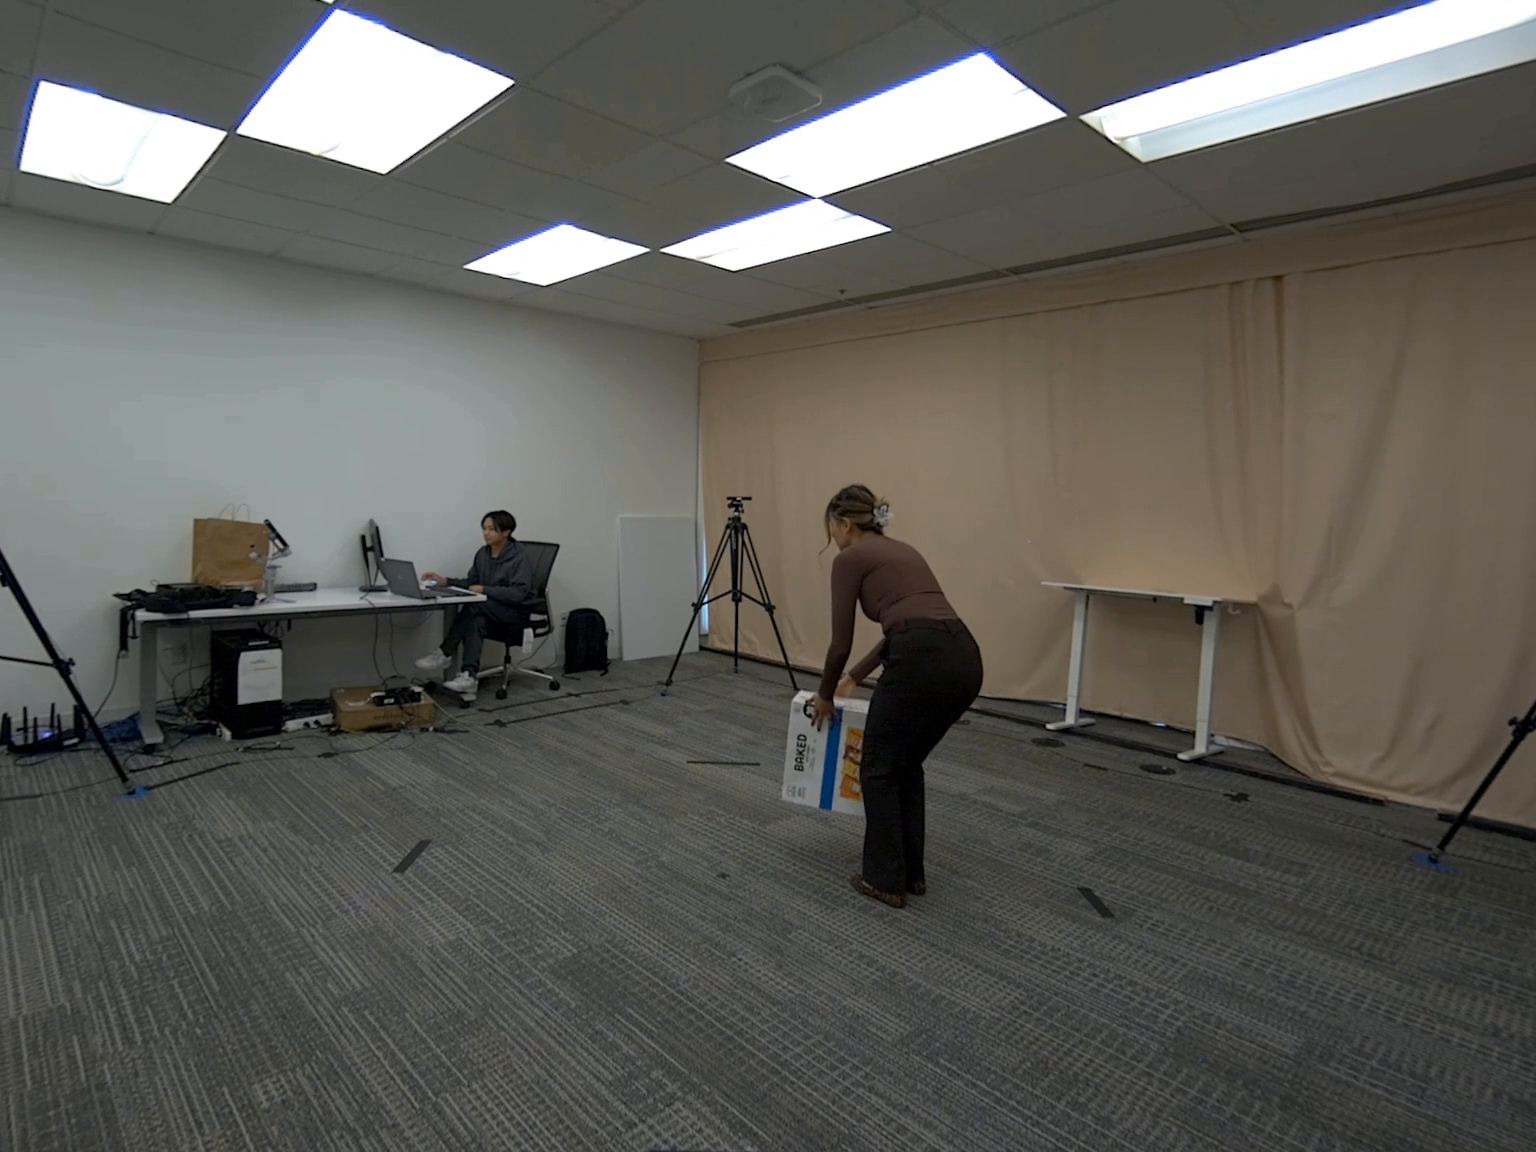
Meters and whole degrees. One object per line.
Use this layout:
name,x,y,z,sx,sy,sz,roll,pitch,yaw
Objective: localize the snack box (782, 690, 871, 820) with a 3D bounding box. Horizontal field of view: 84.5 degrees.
snack box,0.262,0.695,3.334,0.345,0.404,0.203,6,4,15
